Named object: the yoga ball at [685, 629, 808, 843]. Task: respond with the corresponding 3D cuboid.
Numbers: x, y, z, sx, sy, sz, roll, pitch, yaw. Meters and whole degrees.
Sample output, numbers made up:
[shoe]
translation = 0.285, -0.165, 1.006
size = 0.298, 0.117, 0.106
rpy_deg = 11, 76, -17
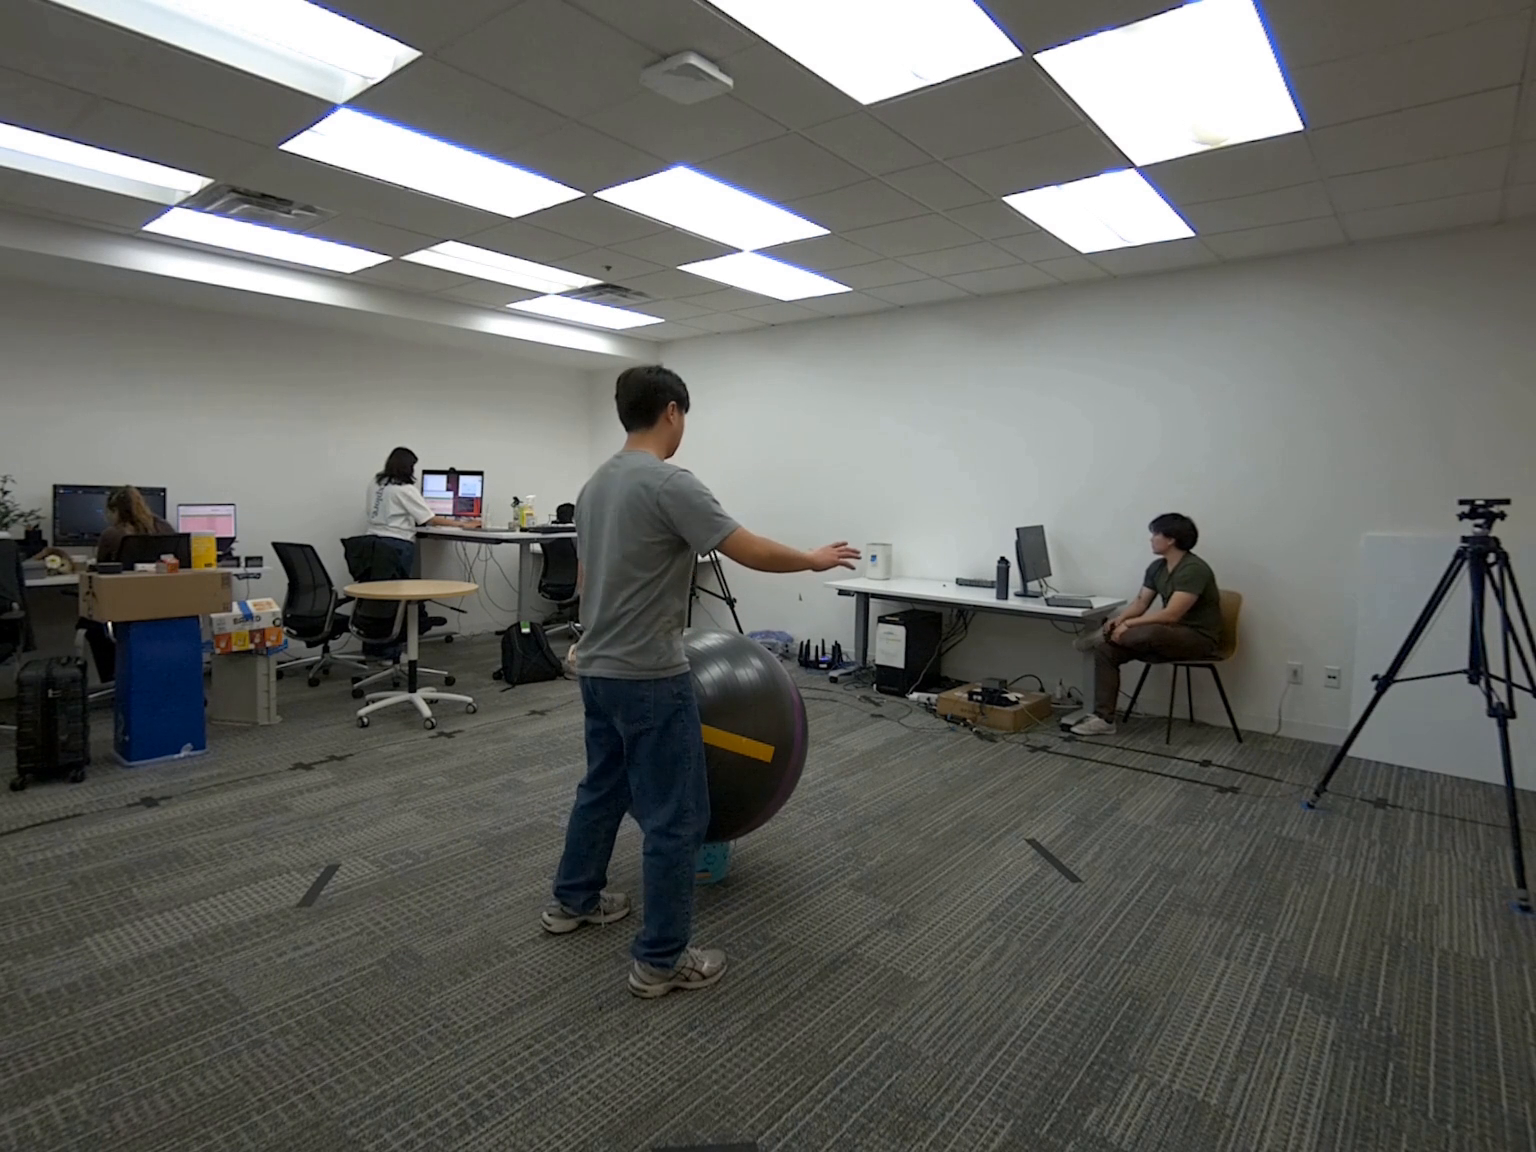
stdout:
[yoga ball]
translation = -0.247, 0.562, 3.062
size = 0.757, 0.755, 0.762
rpy_deg = 1, 4, -2
